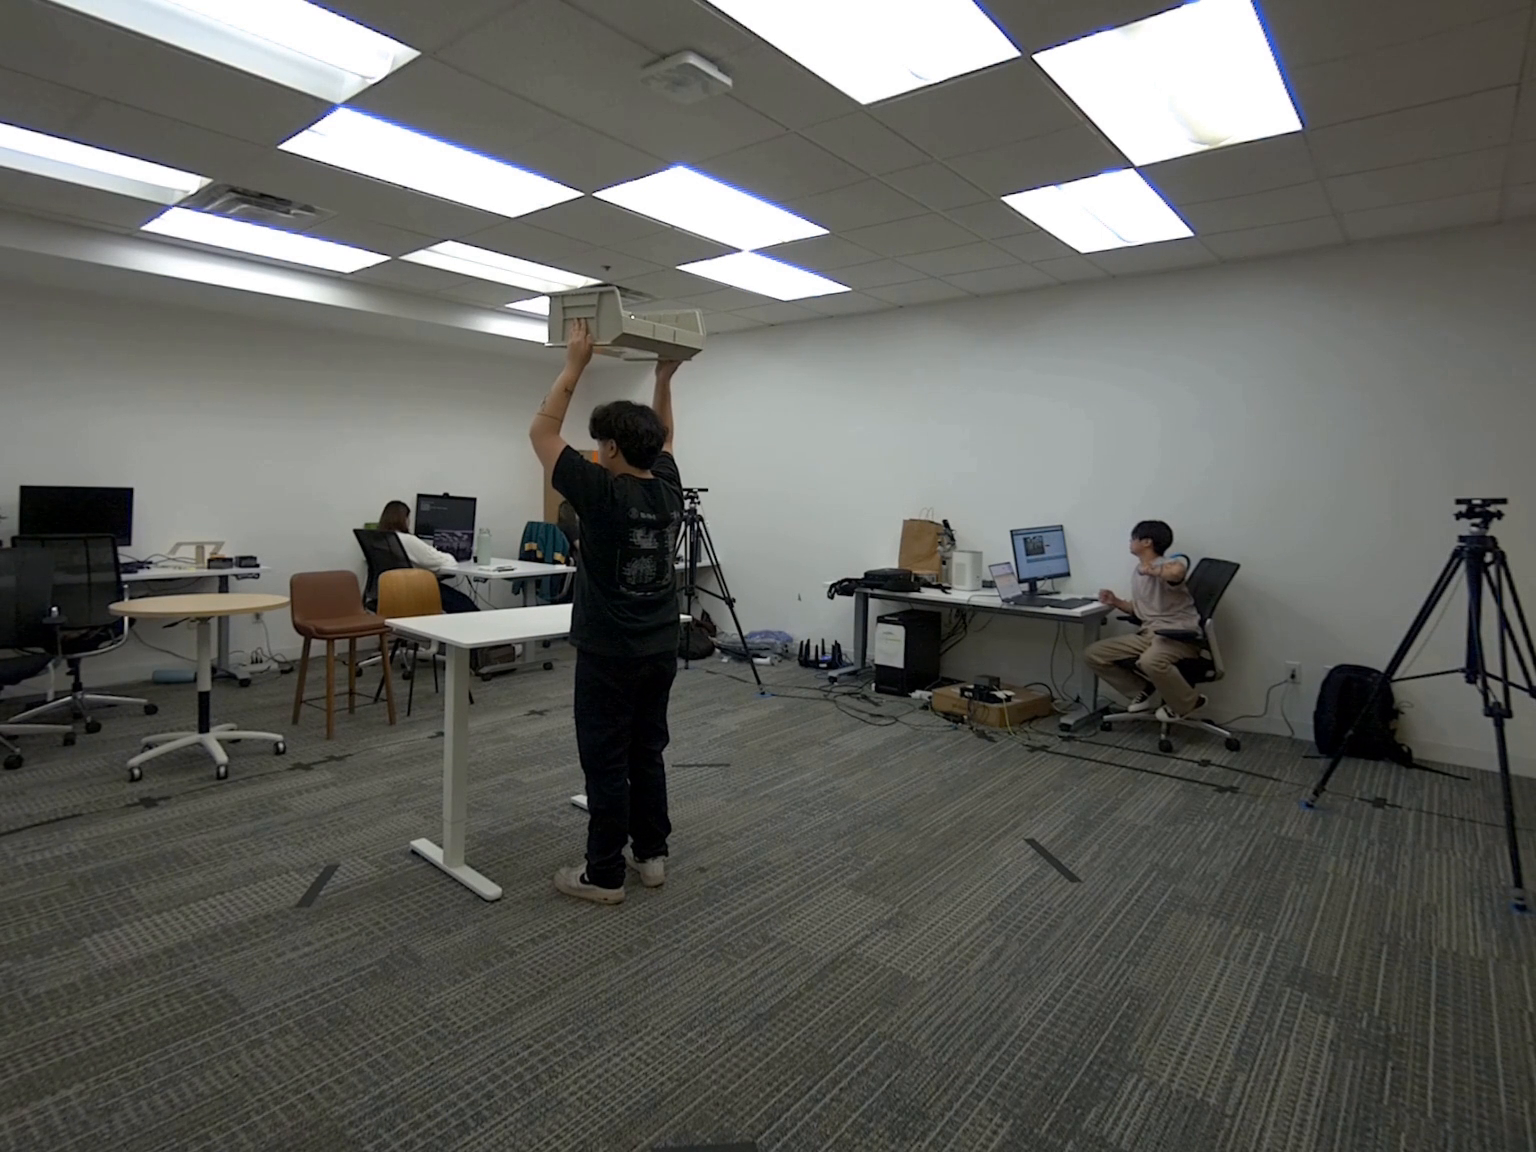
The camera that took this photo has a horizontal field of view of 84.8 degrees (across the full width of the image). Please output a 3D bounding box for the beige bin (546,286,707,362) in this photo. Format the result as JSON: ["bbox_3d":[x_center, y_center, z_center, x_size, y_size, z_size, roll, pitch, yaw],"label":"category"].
[{"bbox_3d":[-0.496,-0.853,2.911,0.390,0.188,0.411,9,10,35],"label":"beige bin"}]
